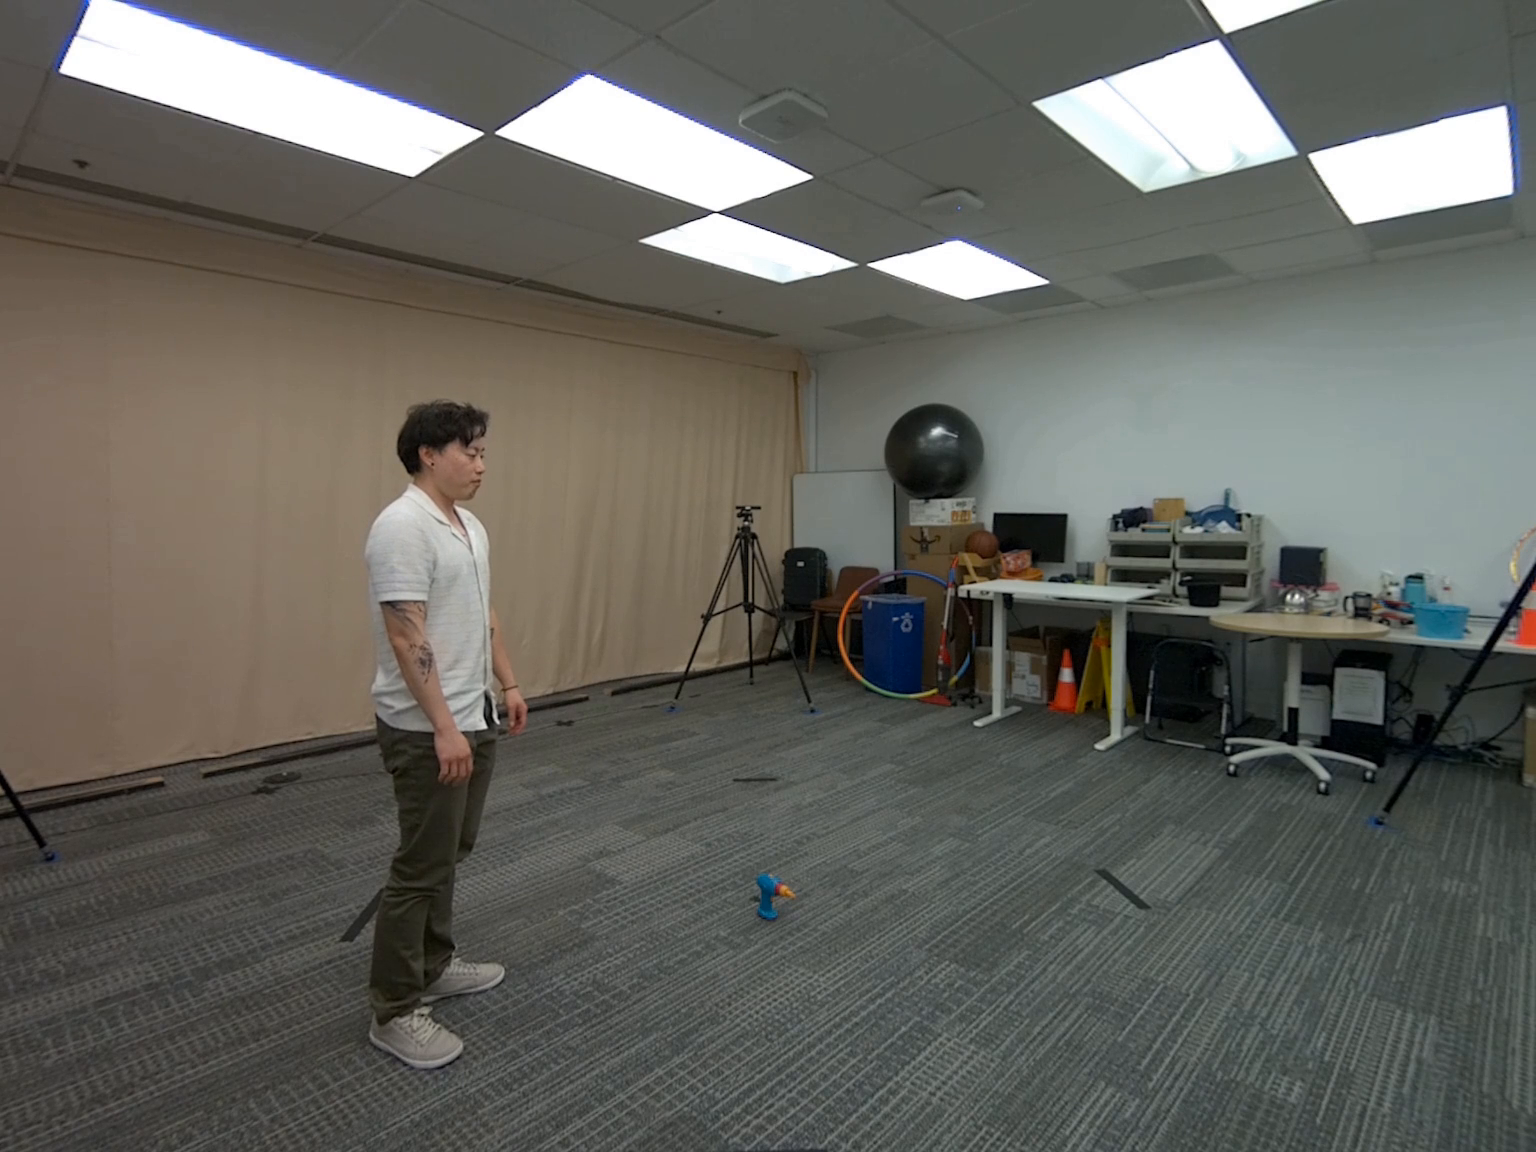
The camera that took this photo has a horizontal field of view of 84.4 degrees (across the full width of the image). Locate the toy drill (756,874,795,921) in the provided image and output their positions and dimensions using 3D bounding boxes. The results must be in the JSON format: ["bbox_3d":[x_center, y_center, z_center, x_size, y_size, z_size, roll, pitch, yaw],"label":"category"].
[{"bbox_3d":[0.029,1.089,2.823,0.175,0.145,0.059,6,7,43],"label":"toy drill"}]
